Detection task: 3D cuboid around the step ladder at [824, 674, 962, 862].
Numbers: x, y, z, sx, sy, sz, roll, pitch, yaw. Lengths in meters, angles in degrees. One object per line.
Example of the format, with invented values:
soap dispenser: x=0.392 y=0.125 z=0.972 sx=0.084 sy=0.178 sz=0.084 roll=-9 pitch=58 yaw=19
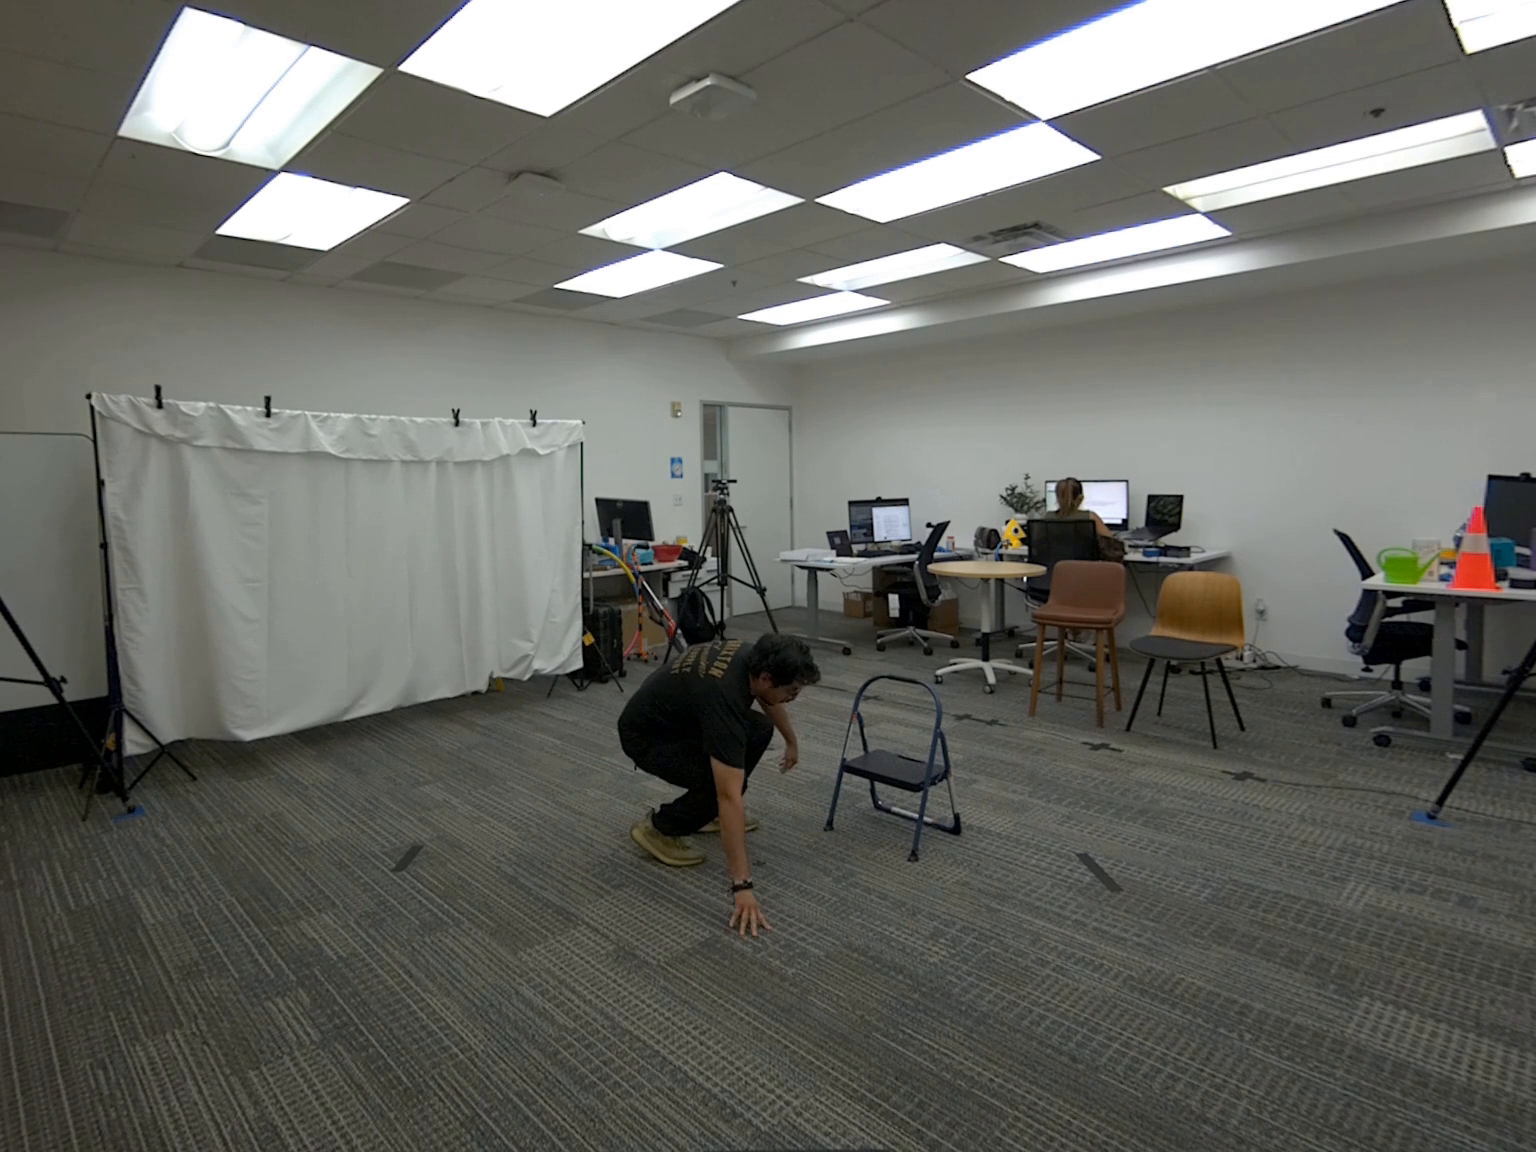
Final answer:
step ladder: x=0.488 y=0.706 z=3.348 sx=0.444 sy=0.604 sz=0.340 roll=4 pitch=7 yaw=44
